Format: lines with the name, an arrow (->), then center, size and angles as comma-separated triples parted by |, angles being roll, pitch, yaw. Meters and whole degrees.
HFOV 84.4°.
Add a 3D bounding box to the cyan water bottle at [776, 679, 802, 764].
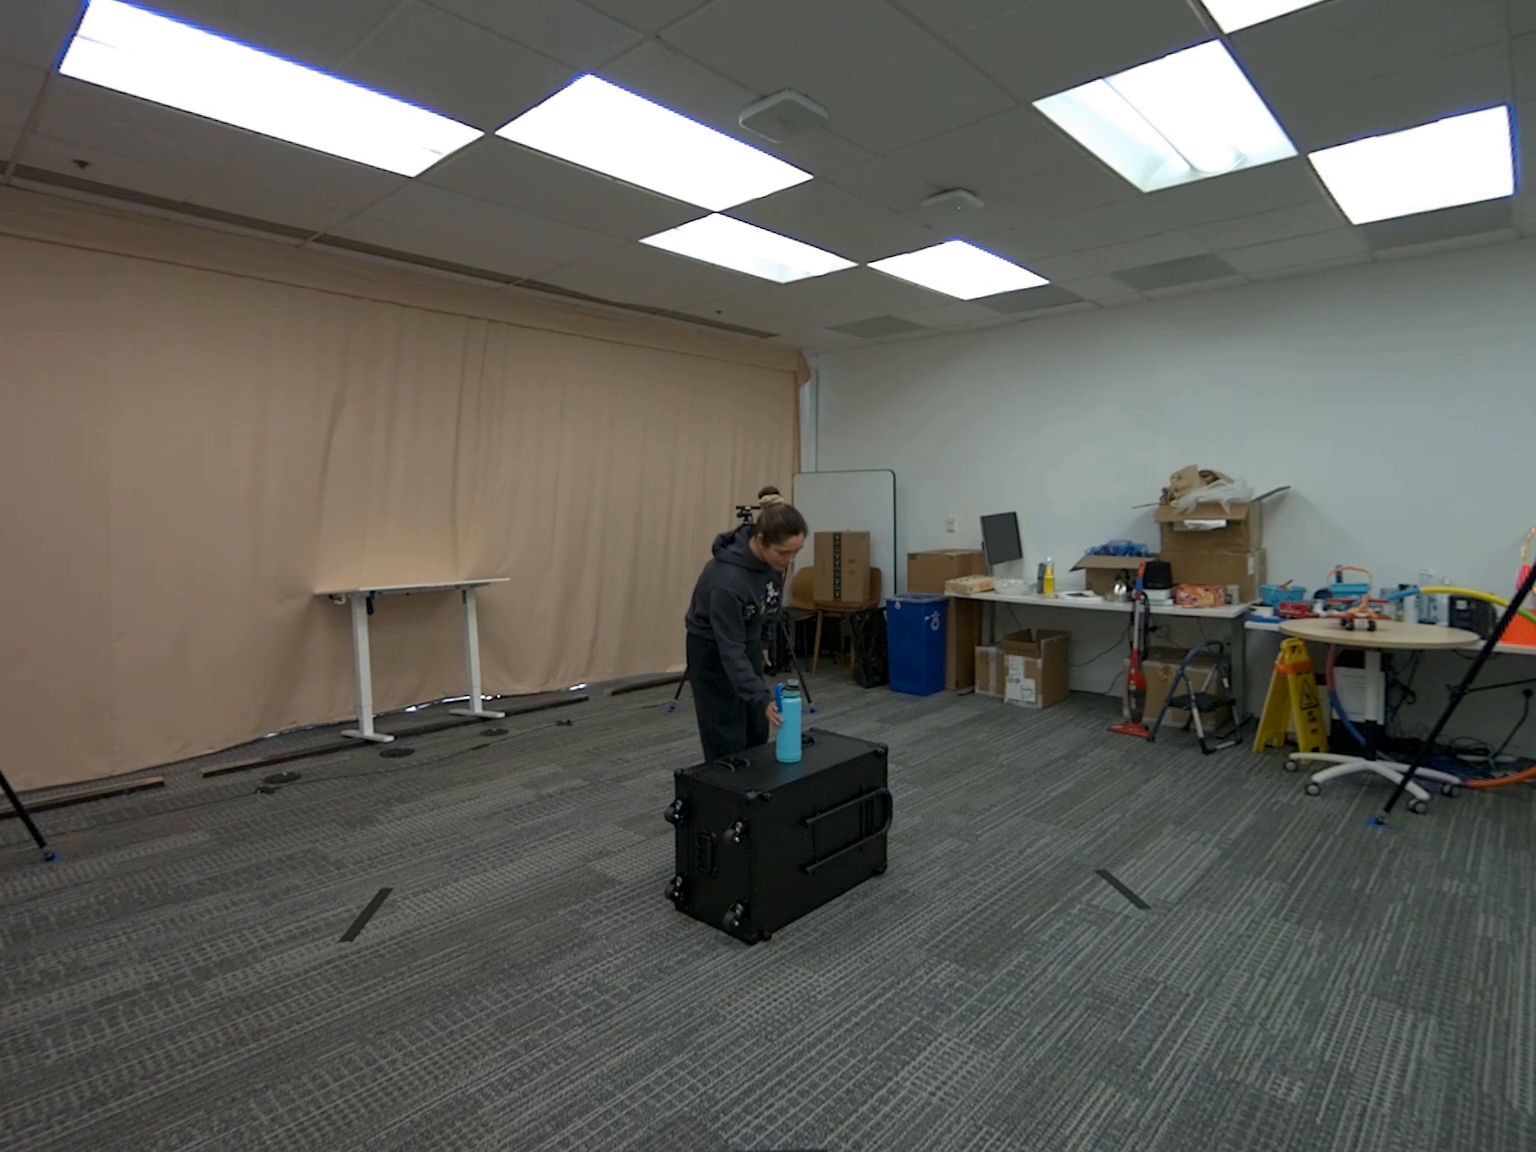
cyan water bottle -> 0.094, 0.514, 3.014 | 0.092, 0.282, 0.093 | -1, 4, -2
